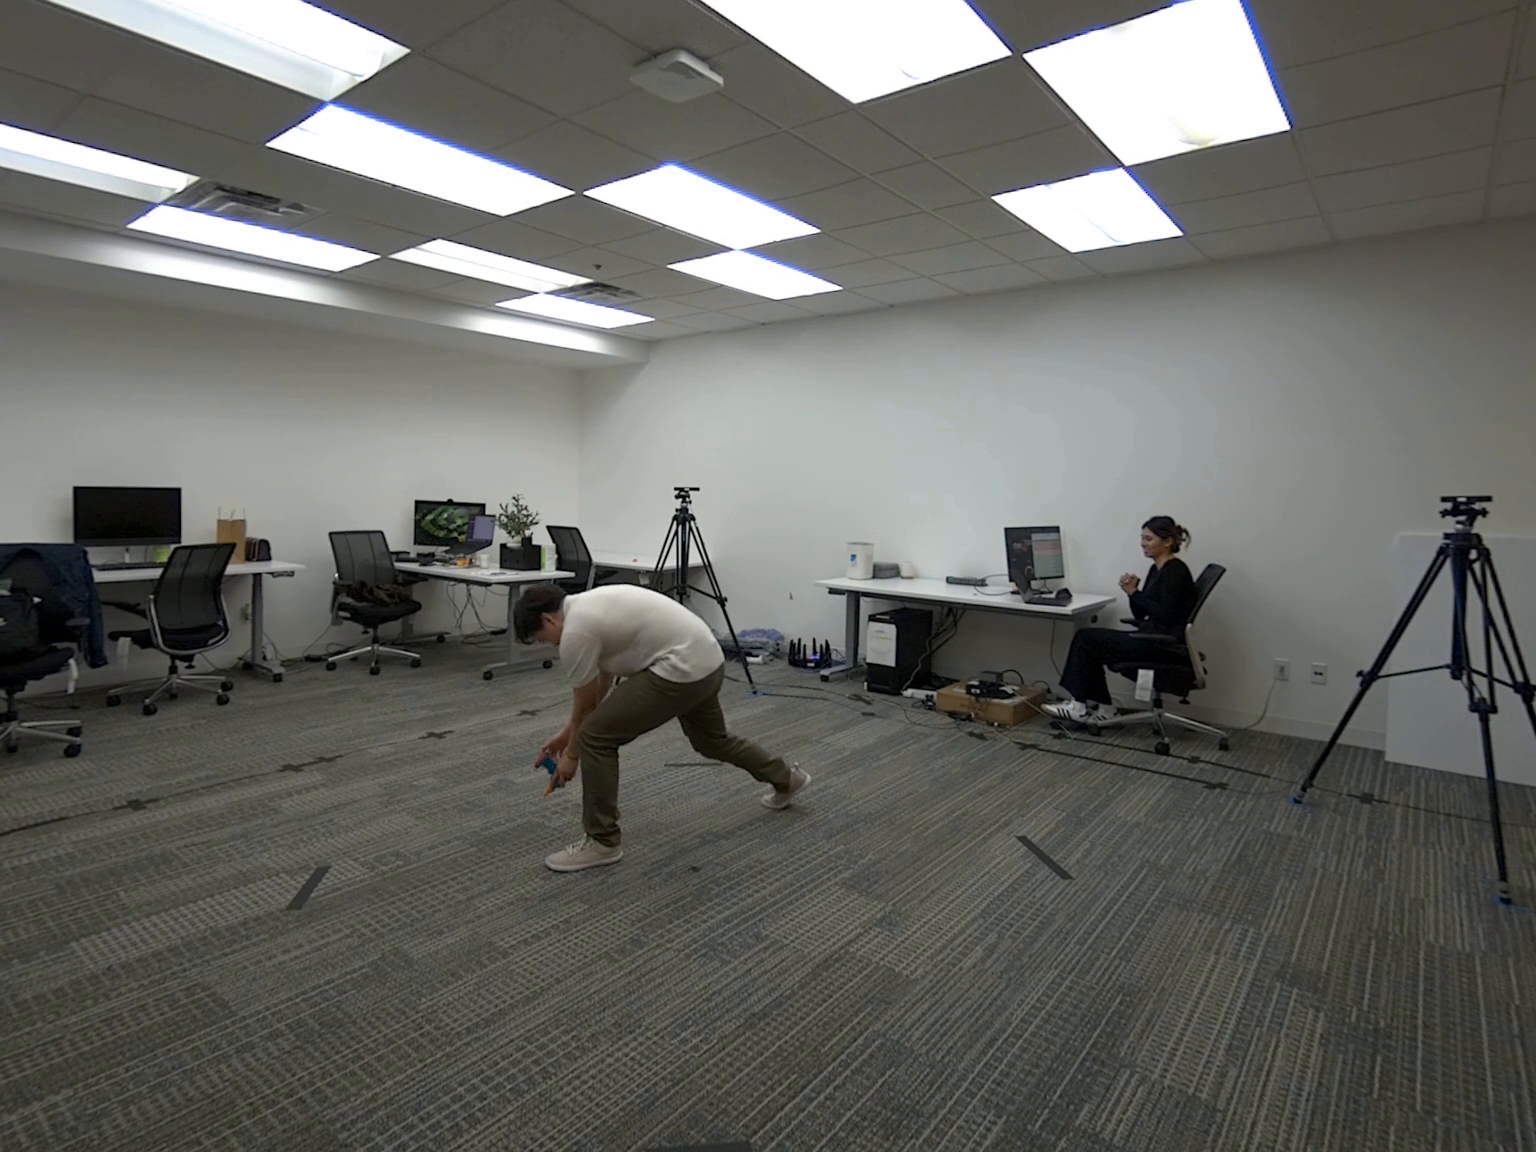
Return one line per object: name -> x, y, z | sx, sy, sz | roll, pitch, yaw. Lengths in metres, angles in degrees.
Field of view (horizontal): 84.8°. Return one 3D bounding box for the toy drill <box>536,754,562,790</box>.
toy drill -> -0.890, 0.790, 3.415 | 0.151, 0.169, 0.059 | 39, 9, 23
